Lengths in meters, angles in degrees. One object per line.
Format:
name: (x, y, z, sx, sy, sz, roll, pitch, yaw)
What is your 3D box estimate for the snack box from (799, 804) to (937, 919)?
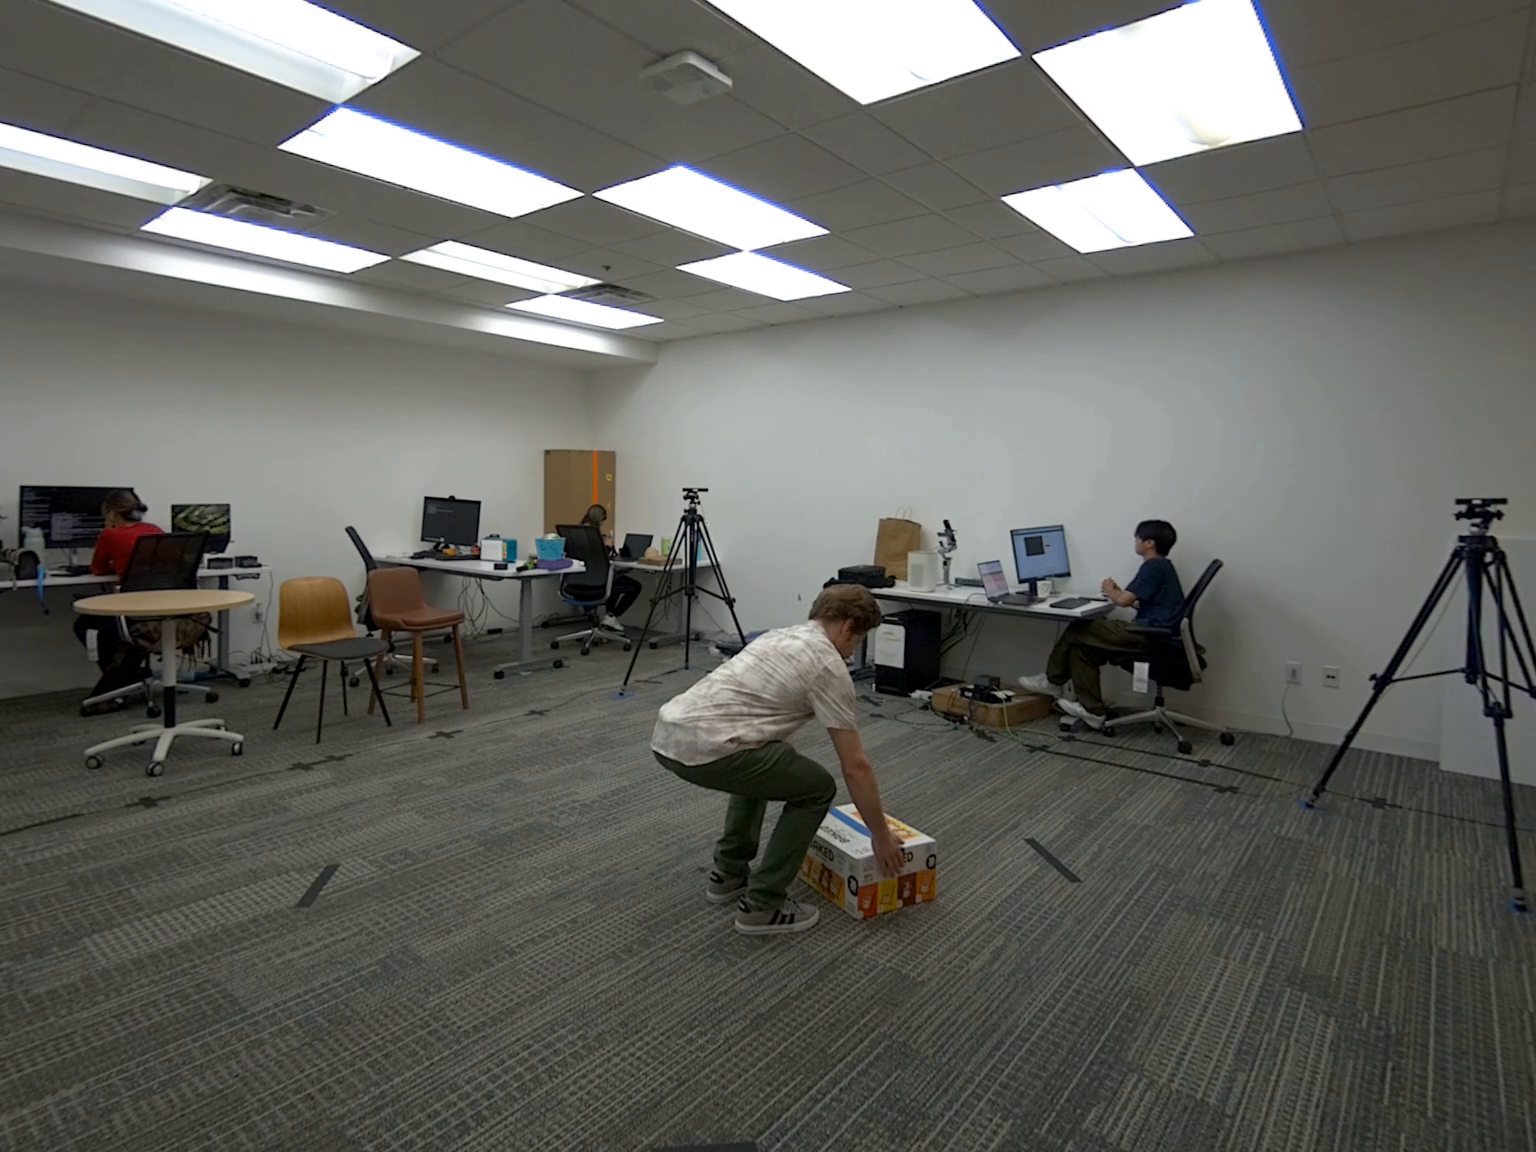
snack box: (0.315, 0.986, 3.011, 0.331, 0.205, 0.418, -1, 6, -31)
